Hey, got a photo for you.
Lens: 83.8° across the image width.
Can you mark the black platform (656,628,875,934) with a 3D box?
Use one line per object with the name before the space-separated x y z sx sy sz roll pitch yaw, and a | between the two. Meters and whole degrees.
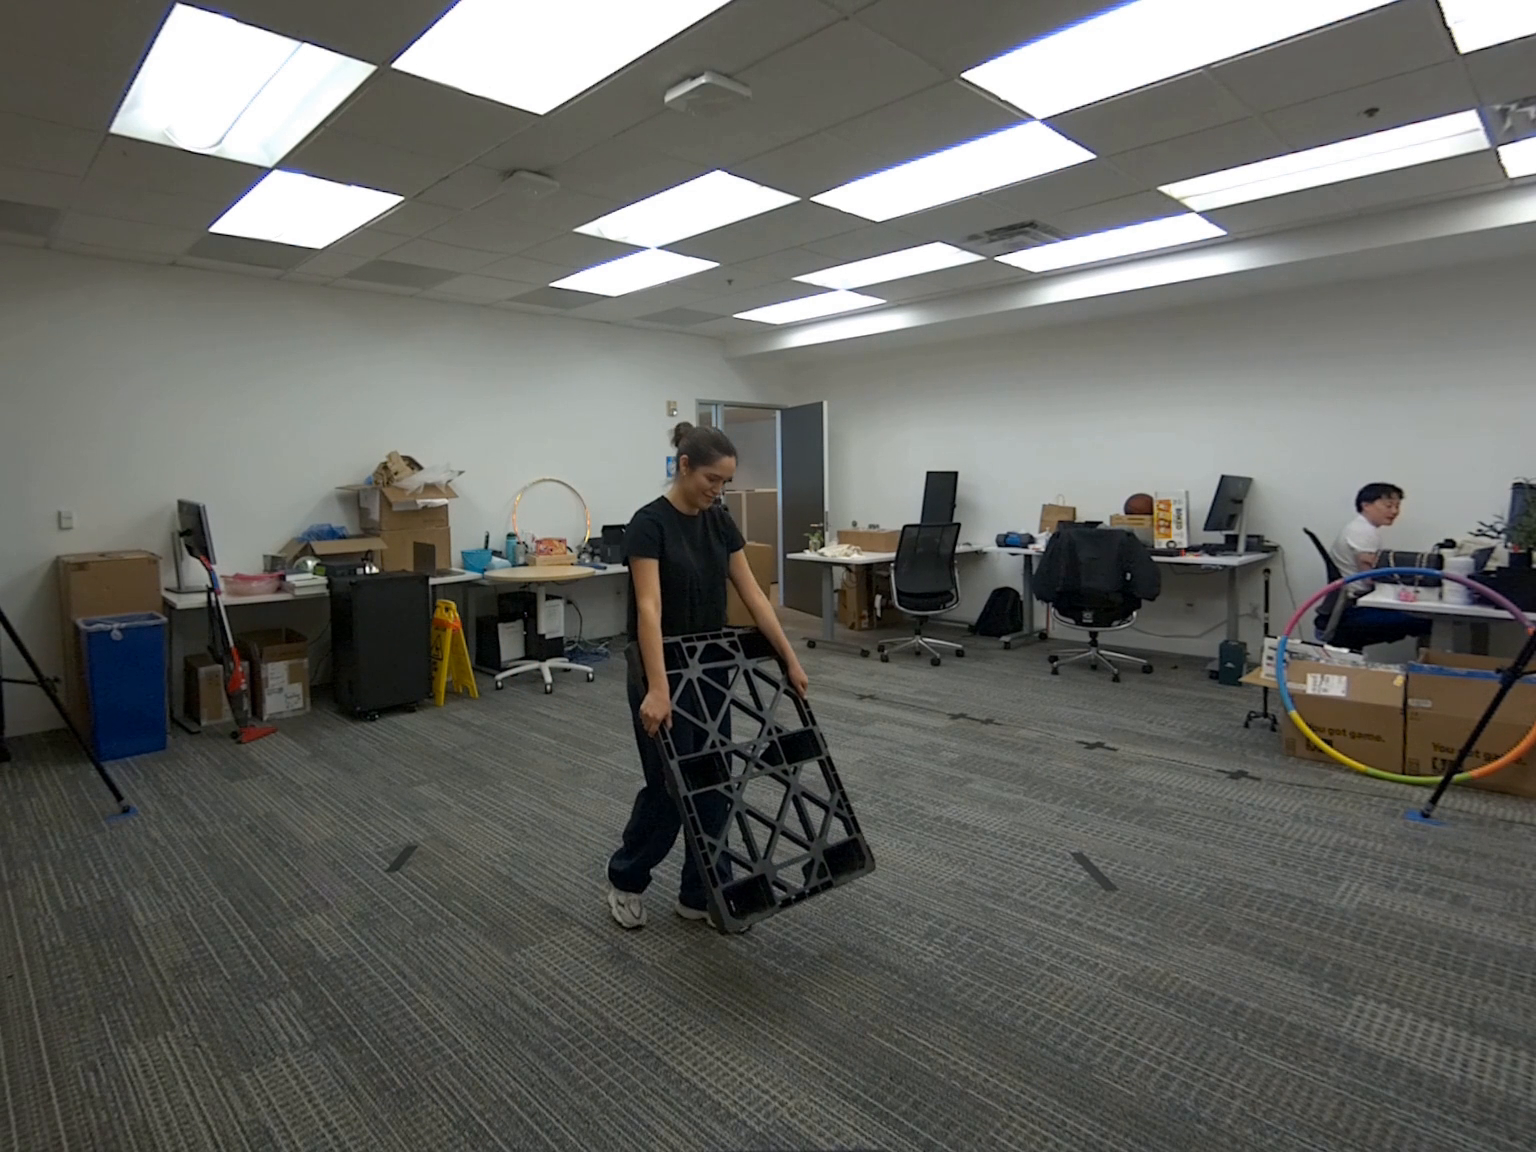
black platform | -0.070 0.551 2.509 0.588 0.825 0.144 -1 -30 -44
